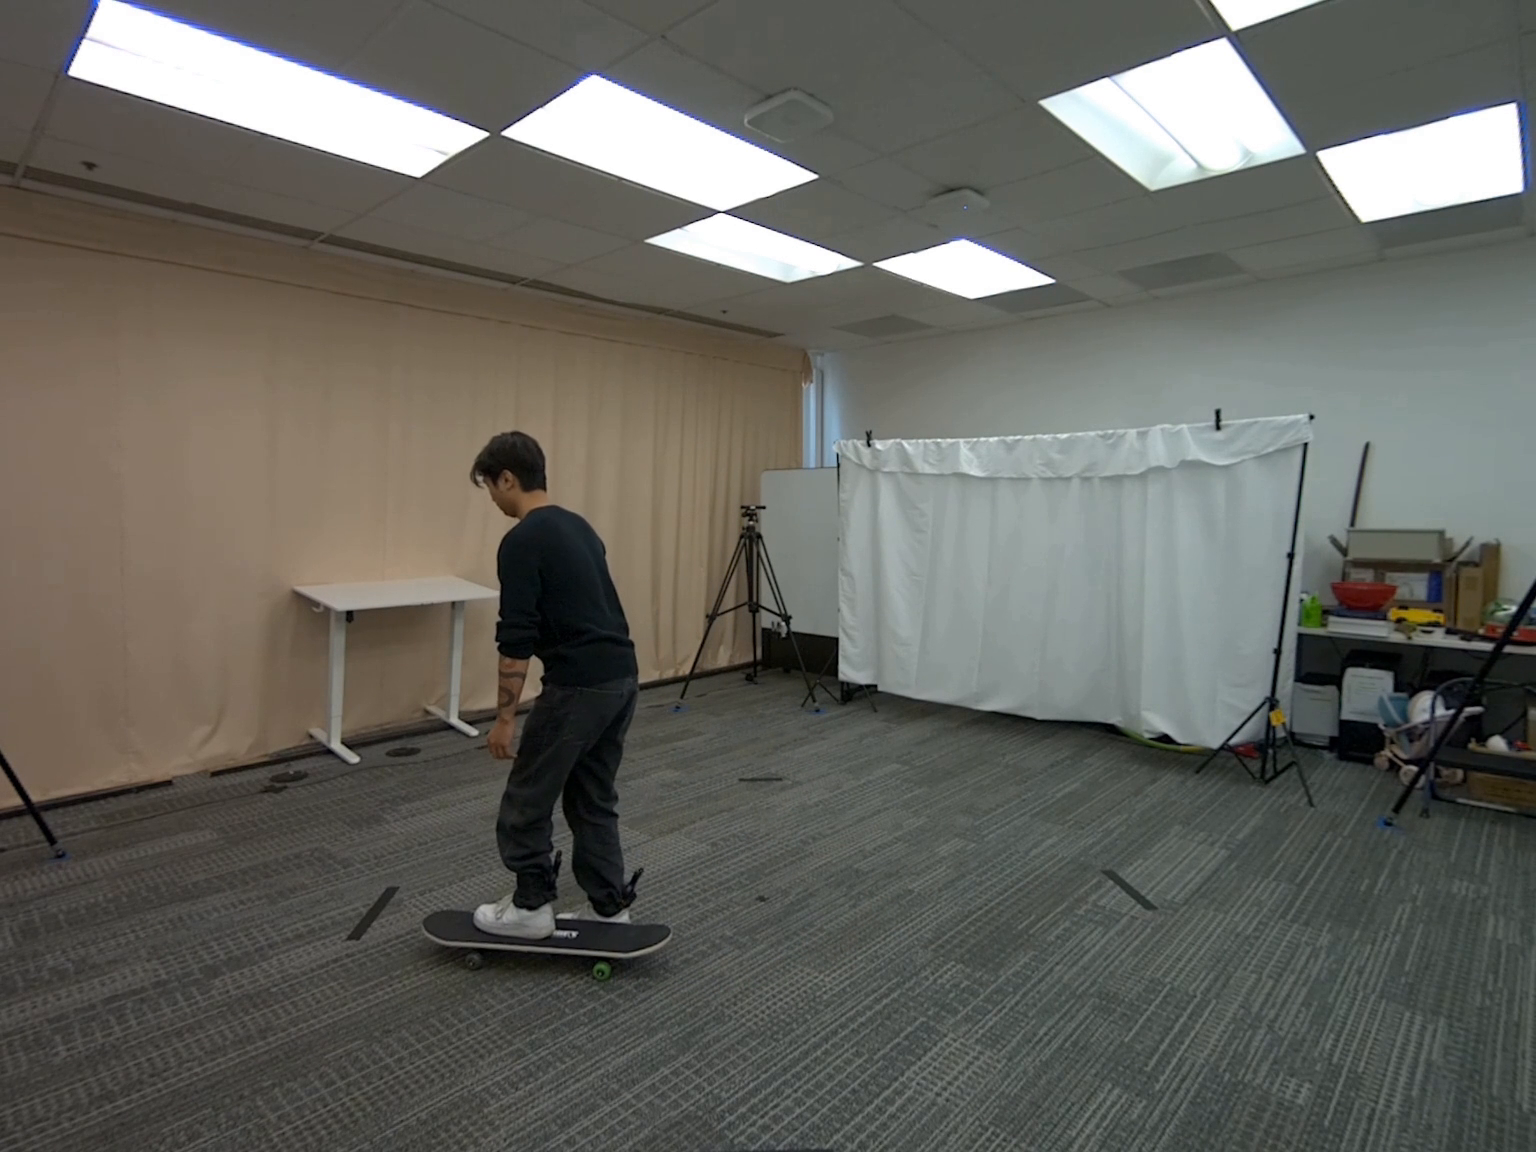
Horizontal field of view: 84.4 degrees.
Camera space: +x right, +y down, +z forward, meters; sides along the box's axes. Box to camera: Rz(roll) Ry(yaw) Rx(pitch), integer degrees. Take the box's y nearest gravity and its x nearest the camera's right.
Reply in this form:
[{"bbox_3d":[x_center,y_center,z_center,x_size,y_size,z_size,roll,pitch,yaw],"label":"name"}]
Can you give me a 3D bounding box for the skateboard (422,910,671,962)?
[{"bbox_3d":[-0.673,1.123,2.580,0.792,0.110,0.192,-1,4,8],"label":"skateboard"}]
